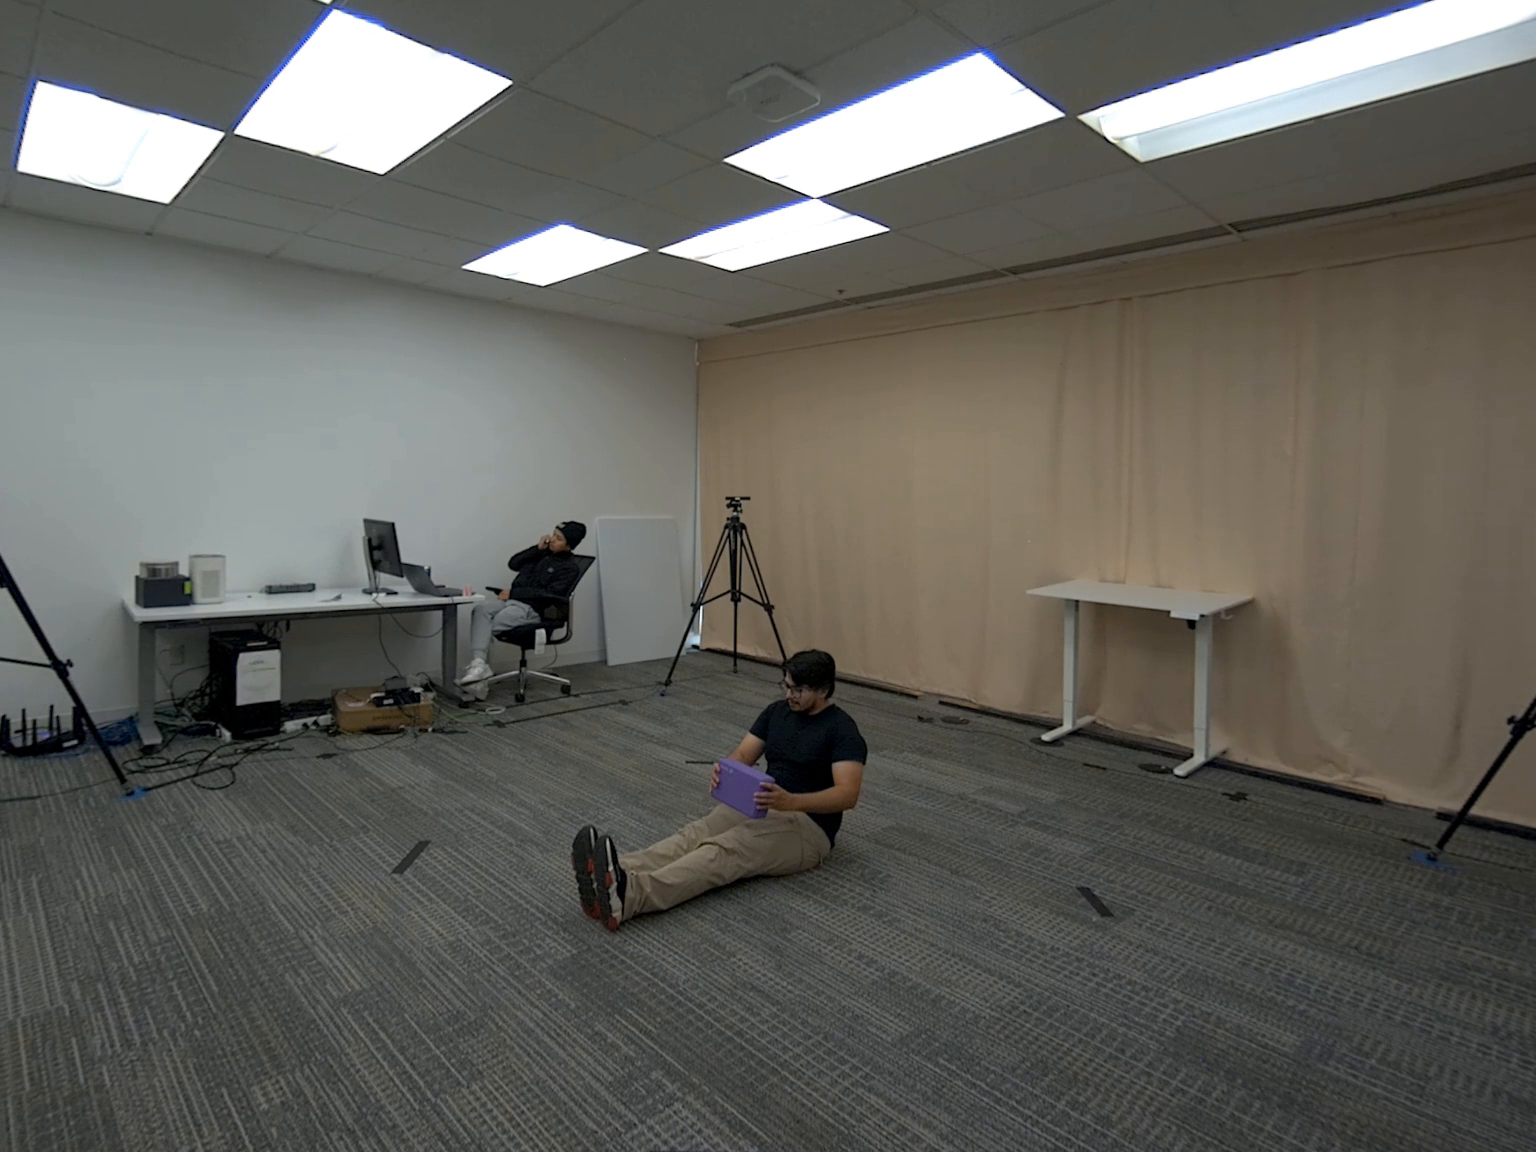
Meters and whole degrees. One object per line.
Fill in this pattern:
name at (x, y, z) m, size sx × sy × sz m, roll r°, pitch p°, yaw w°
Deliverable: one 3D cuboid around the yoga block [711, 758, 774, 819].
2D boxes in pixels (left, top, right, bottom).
yoga block at (-0.100, 0.778, 3.076) m, size 0.074 × 0.149 × 0.236 m, roll 13°, pitch 0°, yaw -45°
